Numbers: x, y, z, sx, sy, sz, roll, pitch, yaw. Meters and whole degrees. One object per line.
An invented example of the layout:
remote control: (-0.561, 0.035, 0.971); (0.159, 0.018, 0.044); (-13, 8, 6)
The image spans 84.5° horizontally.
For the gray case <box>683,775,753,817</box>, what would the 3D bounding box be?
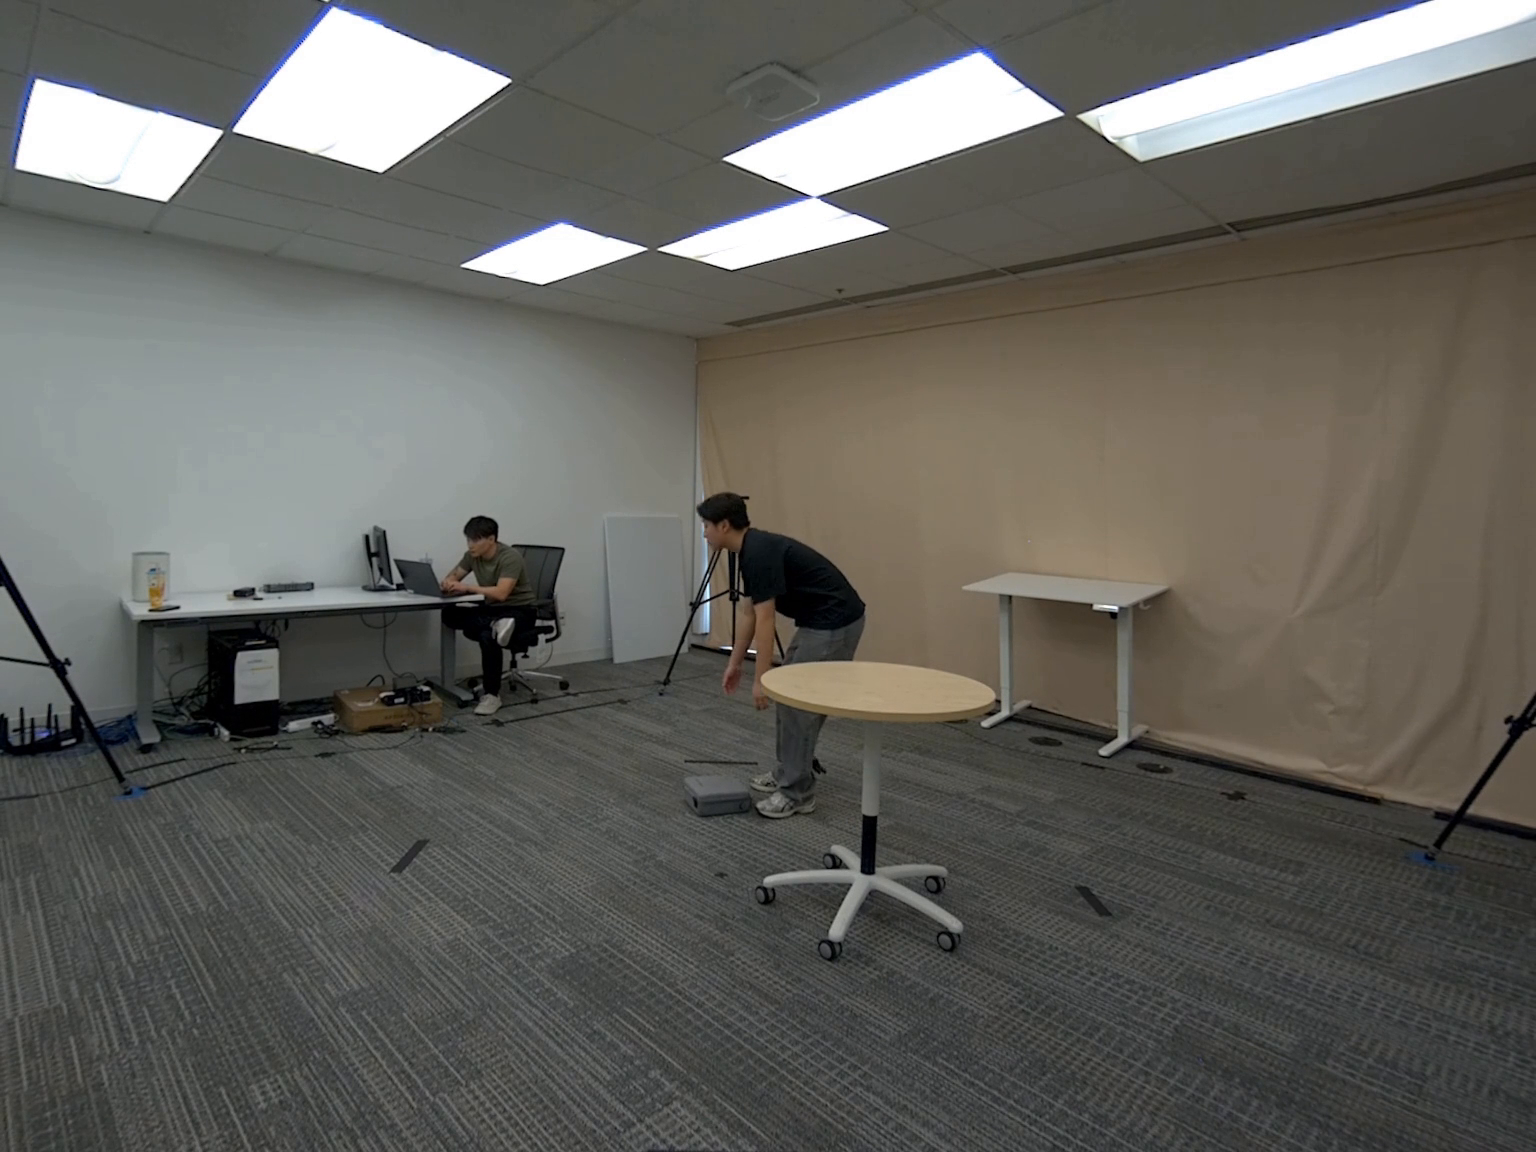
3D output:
gray case: (-0.233, 0.984, 3.811); (0.282, 0.103, 0.268); (1, 6, -21)
